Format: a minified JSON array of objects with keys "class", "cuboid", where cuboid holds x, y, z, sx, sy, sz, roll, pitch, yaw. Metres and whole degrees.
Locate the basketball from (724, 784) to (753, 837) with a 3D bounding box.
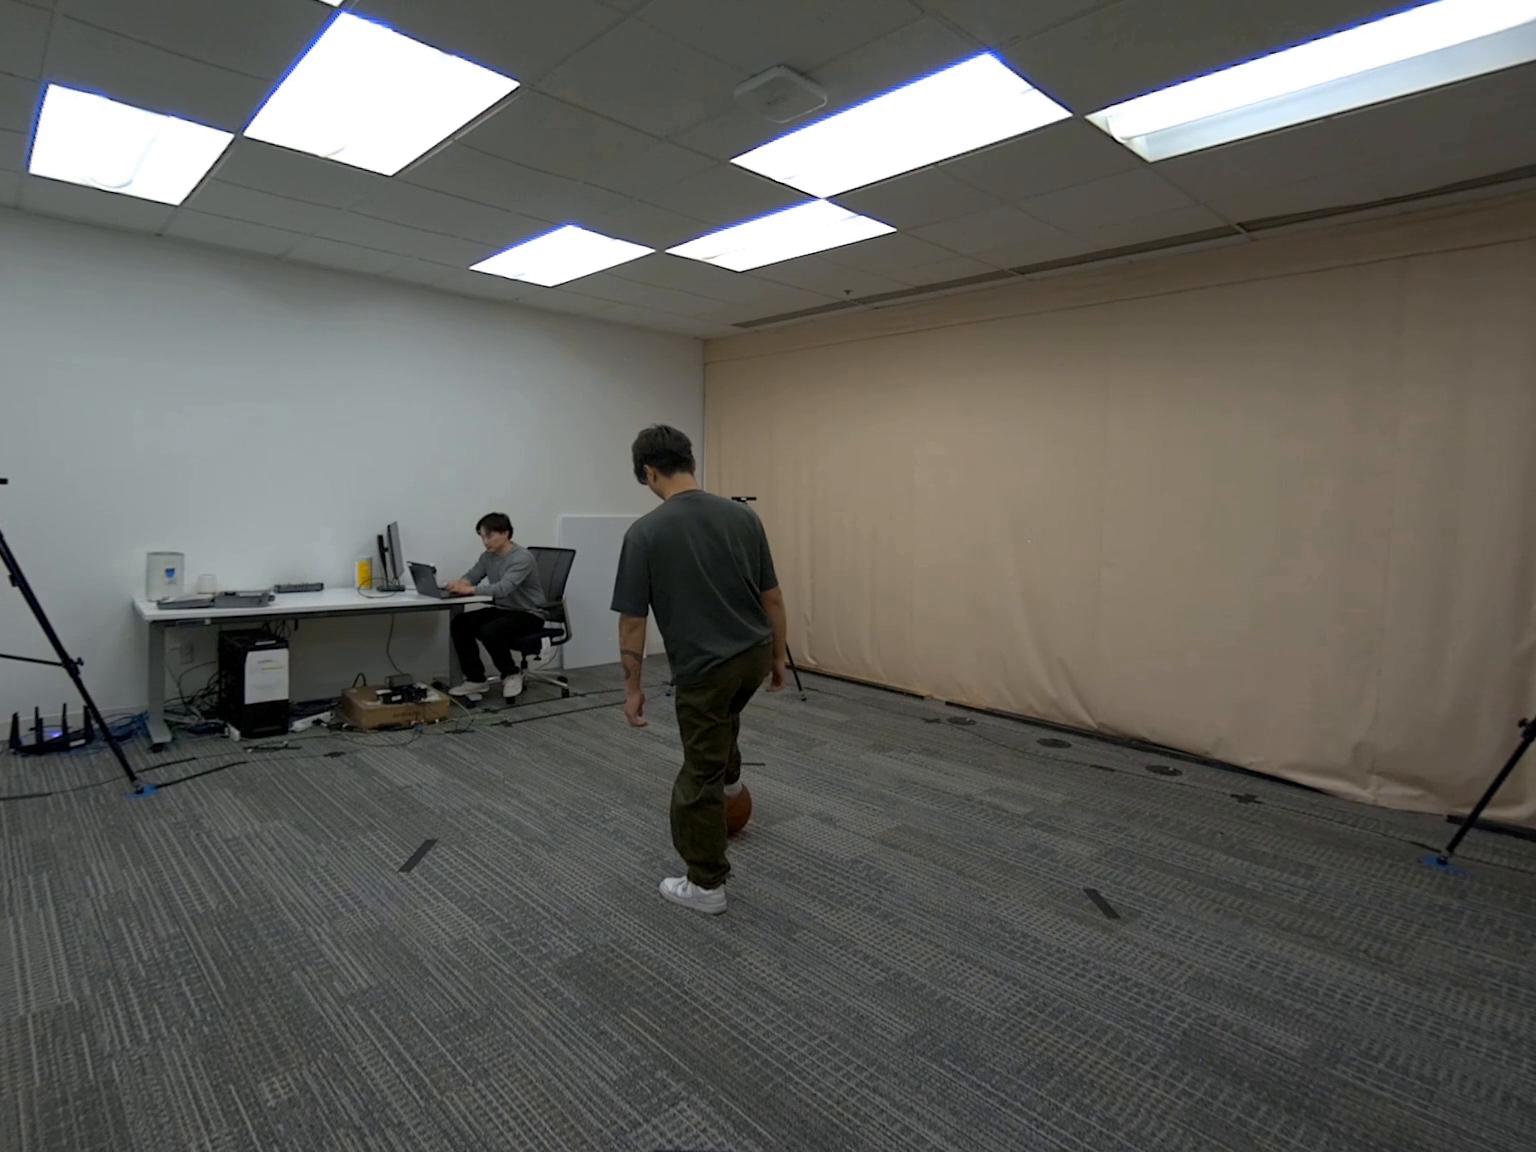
[{"class":"basketball","cuboid":[-0.196,0.954,3.496,0.236,0.235,0.237,1,4,-1]}]
